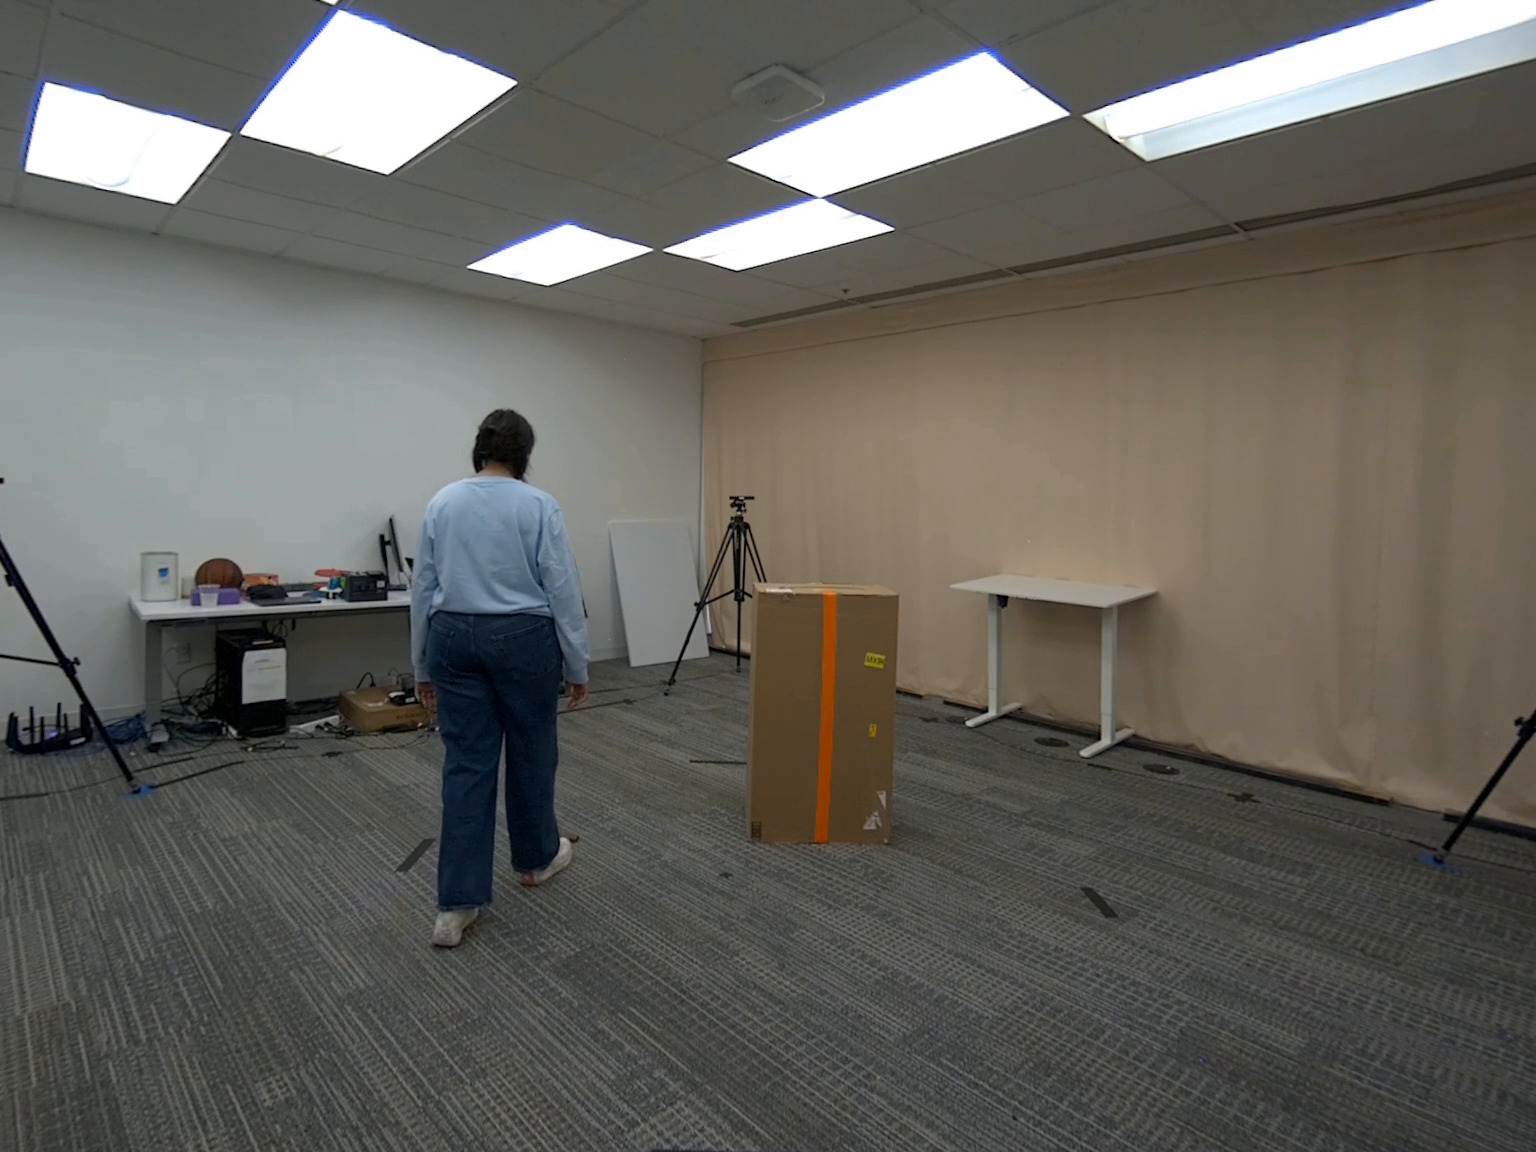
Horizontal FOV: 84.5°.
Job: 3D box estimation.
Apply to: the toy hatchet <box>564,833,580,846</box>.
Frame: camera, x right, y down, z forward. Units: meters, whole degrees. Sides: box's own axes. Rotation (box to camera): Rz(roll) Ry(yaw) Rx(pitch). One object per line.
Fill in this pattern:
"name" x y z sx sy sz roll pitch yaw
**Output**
"toy hatchet" -0.905 1.055 3.353 0.272 0.029 0.130 3 4 7
